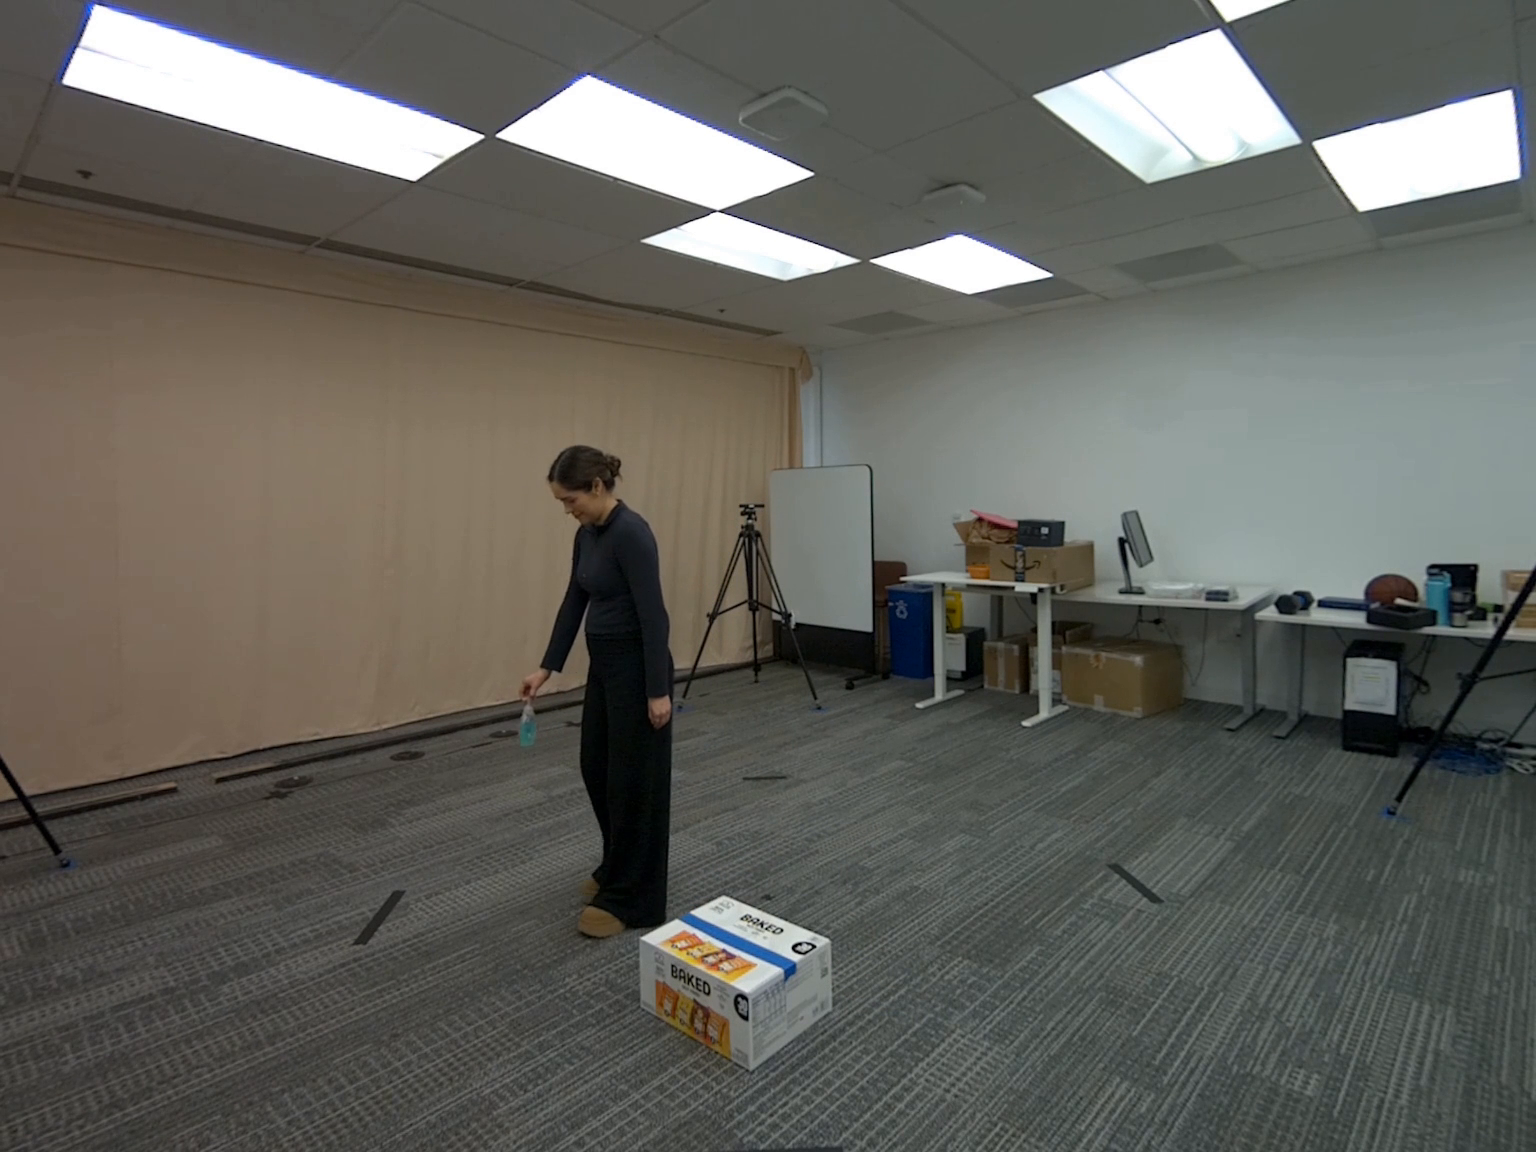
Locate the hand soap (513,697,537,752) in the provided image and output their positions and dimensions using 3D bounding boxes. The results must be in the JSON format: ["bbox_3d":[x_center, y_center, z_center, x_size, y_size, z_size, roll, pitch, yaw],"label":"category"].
[{"bbox_3d":[-0.835,0.504,2.905,0.044,0.168,0.084,2,3,10],"label":"hand soap"}]
